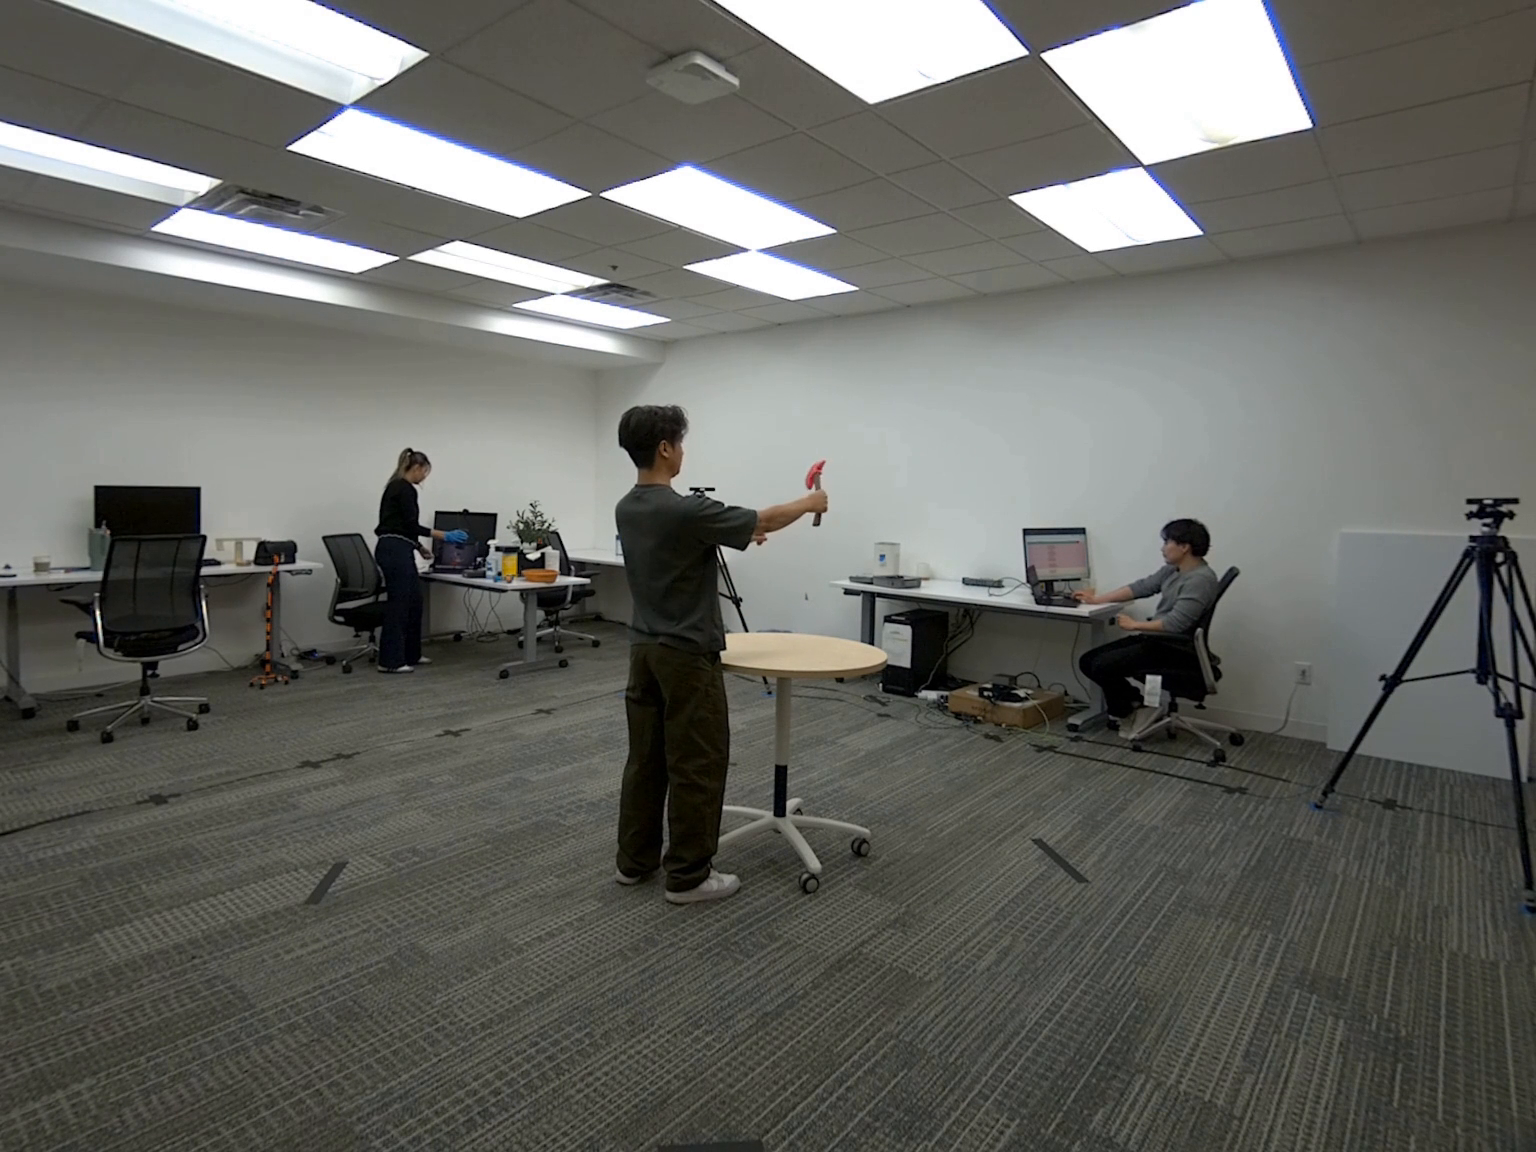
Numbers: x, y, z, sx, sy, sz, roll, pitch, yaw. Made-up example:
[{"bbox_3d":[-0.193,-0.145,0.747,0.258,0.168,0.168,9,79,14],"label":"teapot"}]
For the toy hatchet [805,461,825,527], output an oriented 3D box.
[{"bbox_3d":[0.162,-0.293,3.162,0.029,0.275,0.132,18,-24,-25],"label":"toy hatchet"}]
